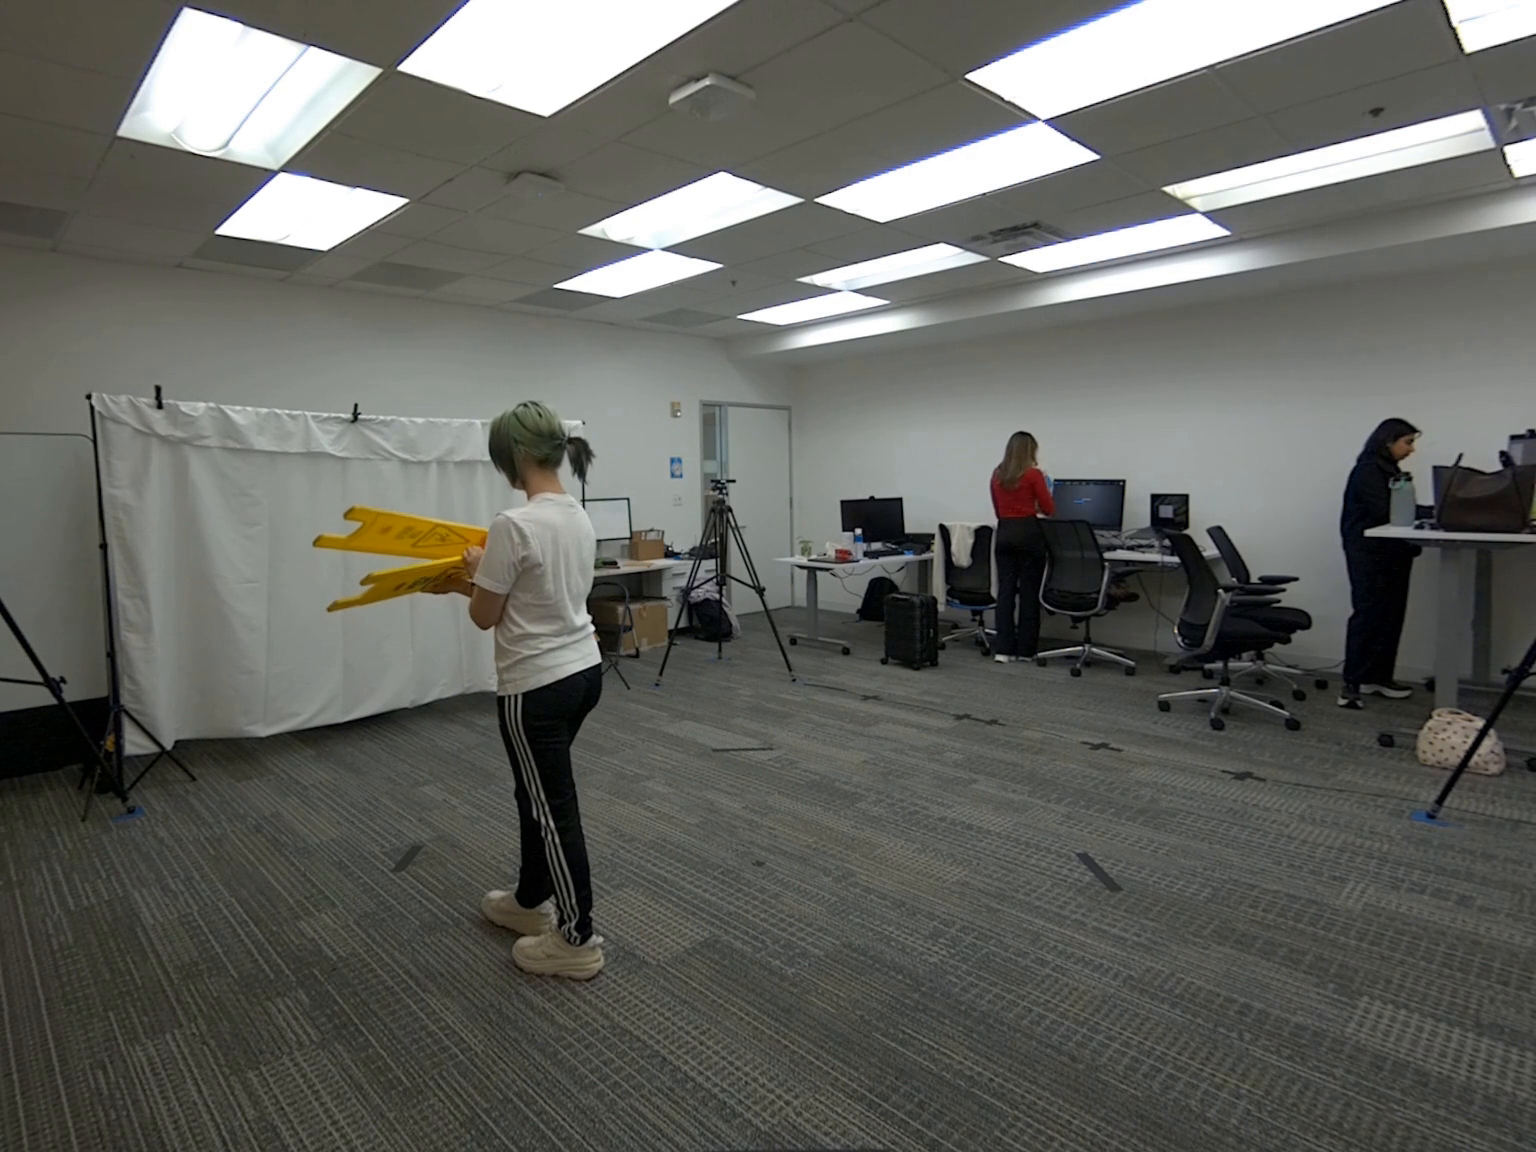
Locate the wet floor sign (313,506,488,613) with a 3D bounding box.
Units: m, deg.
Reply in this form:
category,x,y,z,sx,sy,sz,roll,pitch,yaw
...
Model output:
category,x,y,z,sx,sy,sz,roll,pitch,yaw
wet floor sign,-1.020,-0.052,2.663,0.285,0.293,0.631,-28,-10,33
